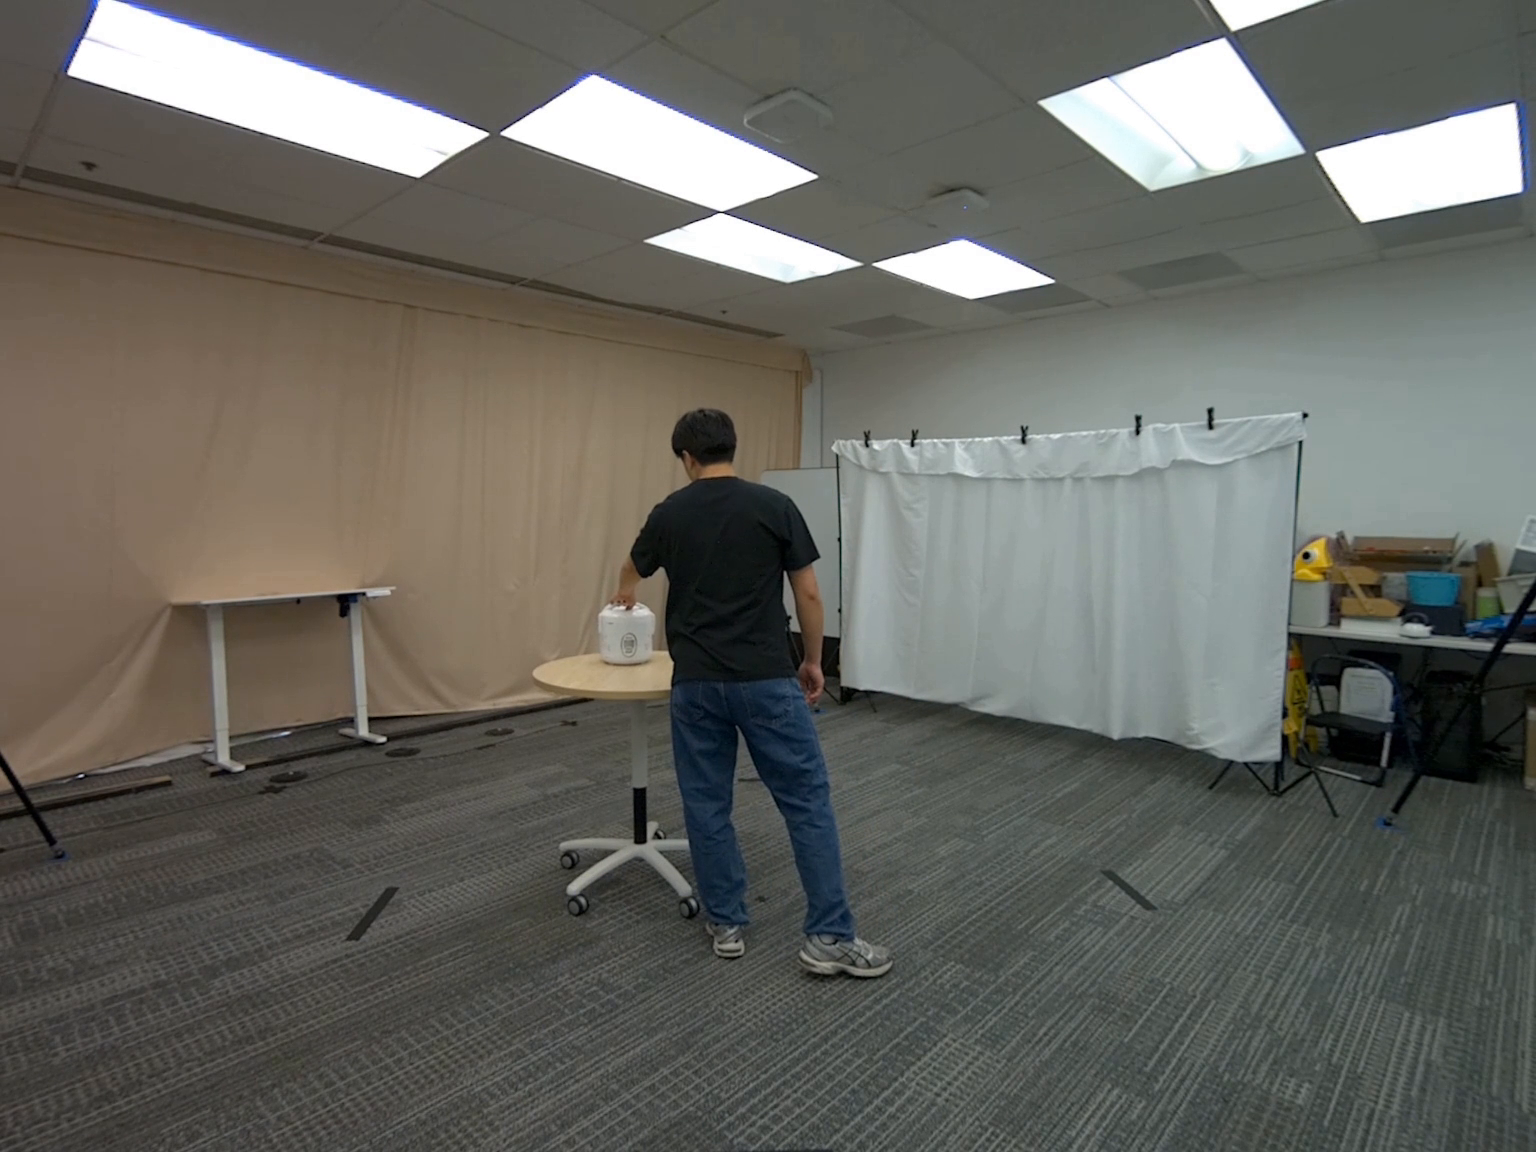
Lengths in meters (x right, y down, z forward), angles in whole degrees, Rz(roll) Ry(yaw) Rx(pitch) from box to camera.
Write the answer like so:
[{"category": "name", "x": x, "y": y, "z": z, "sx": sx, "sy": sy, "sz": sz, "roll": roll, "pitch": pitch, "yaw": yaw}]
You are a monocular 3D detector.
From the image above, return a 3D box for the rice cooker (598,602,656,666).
[{"category": "rice cooker", "x": -0.547, "y": 0.216, "z": 3.256, "sx": 0.218, "sy": 0.232, "sz": 0.221, "roll": -1, "pitch": 4, "yaw": -13}]
